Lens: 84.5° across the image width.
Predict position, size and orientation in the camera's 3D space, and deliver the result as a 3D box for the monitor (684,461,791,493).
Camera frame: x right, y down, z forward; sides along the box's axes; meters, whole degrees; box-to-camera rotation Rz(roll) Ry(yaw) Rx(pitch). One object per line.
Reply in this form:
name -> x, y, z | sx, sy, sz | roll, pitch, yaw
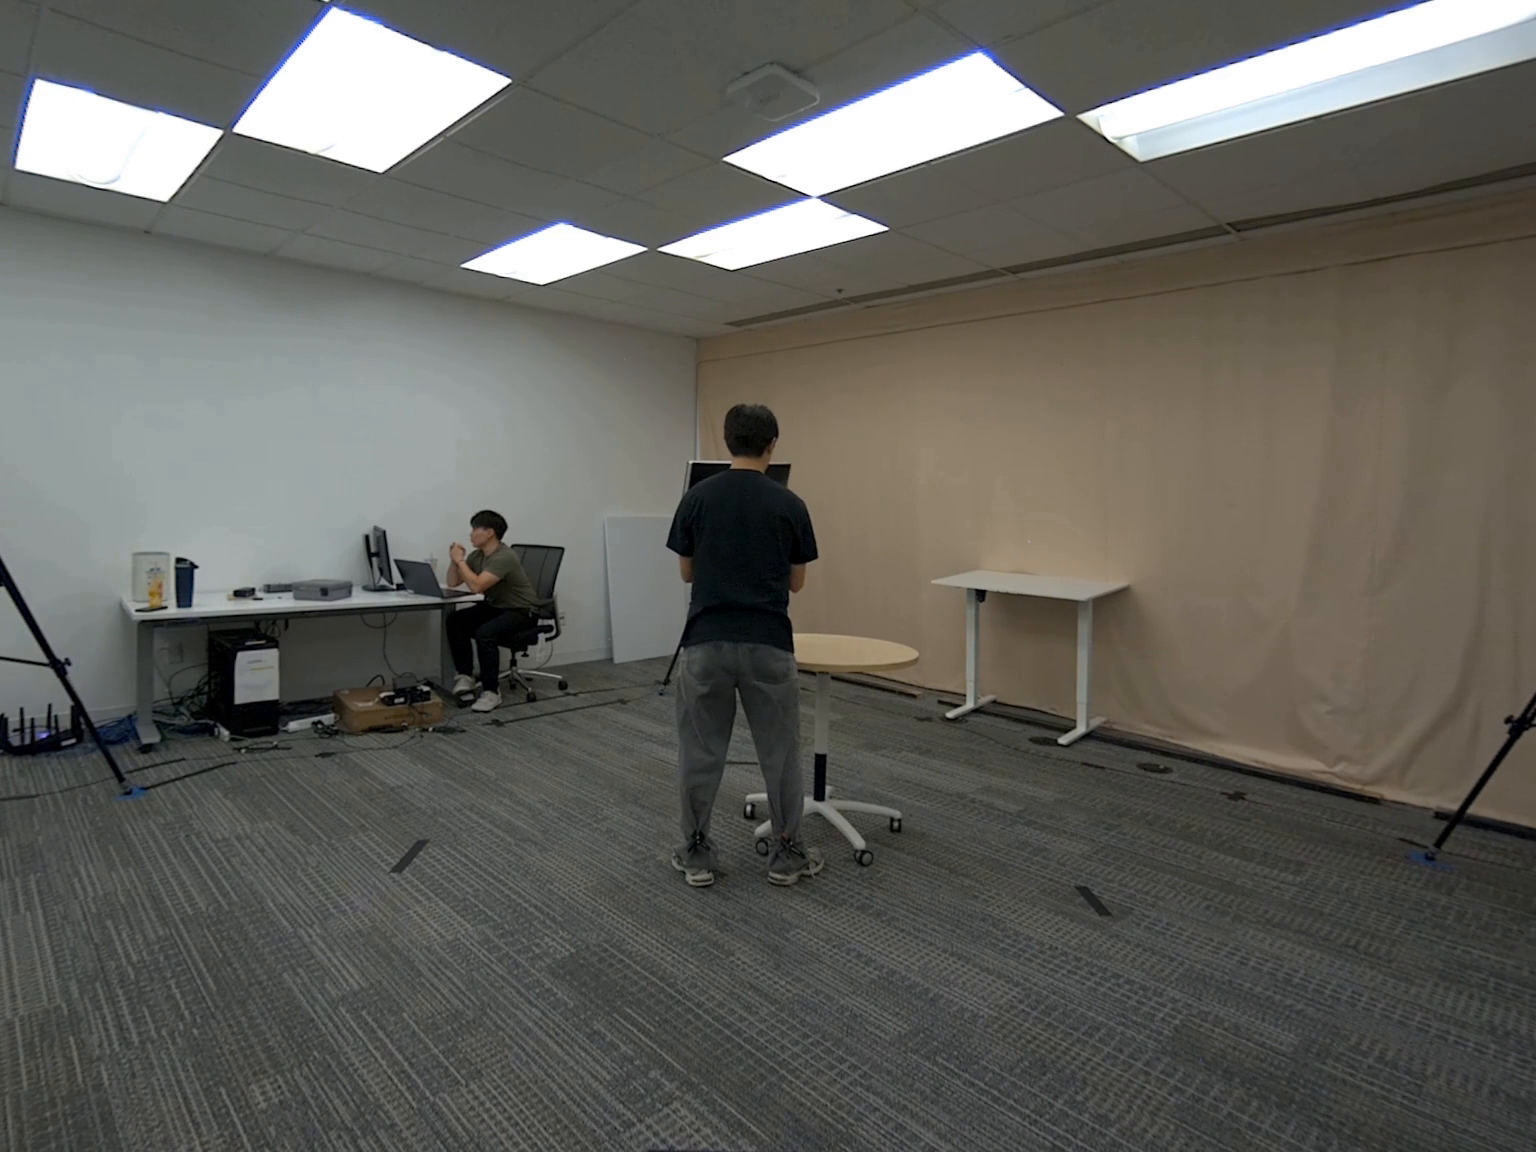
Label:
monitor -> -0.110, -0.180, 3.419 | 0.549, 0.565, 0.227 | -4, 4, -42
